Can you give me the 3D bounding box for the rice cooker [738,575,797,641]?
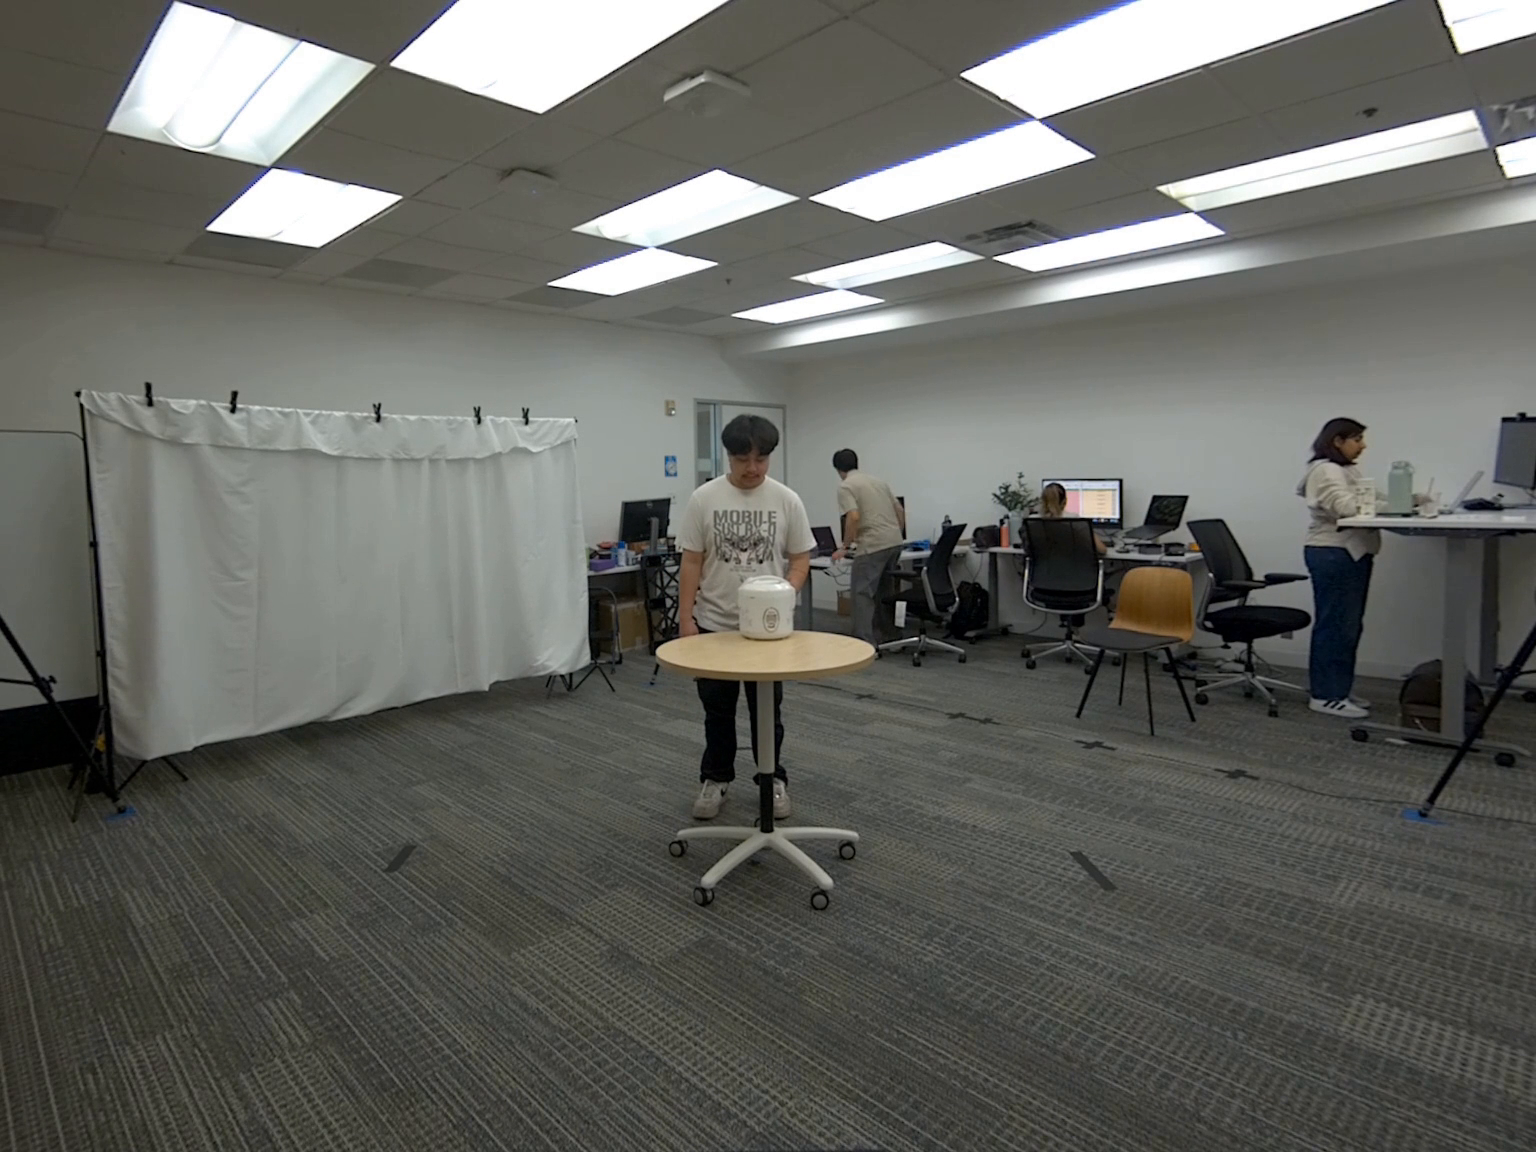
[{"bbox_3d":[-0.009,0.116,3.238,0.219,0.232,0.220,-2,4,-8],"label":"rice cooker"}]
